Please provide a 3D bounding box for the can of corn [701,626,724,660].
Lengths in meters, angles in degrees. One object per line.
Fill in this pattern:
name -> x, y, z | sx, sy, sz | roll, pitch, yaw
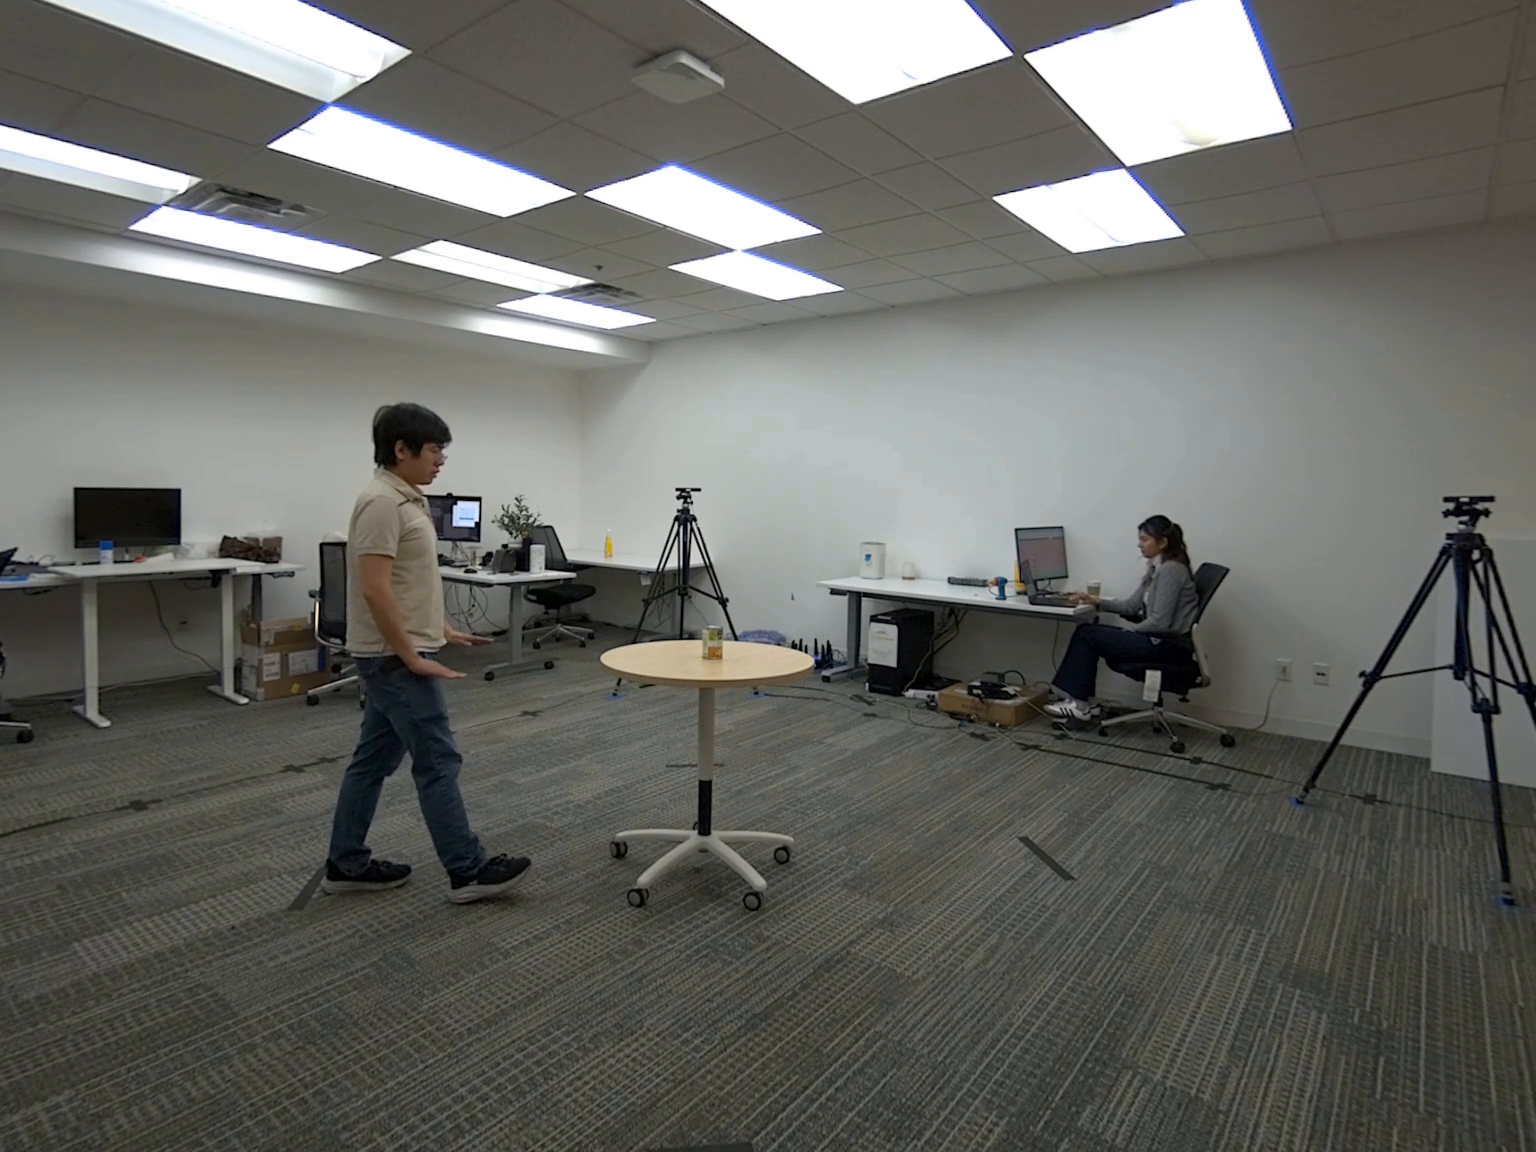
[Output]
can of corn -> -0.215, 0.238, 3.047 | 0.074, 0.111, 0.074 | 1, 2, -2
